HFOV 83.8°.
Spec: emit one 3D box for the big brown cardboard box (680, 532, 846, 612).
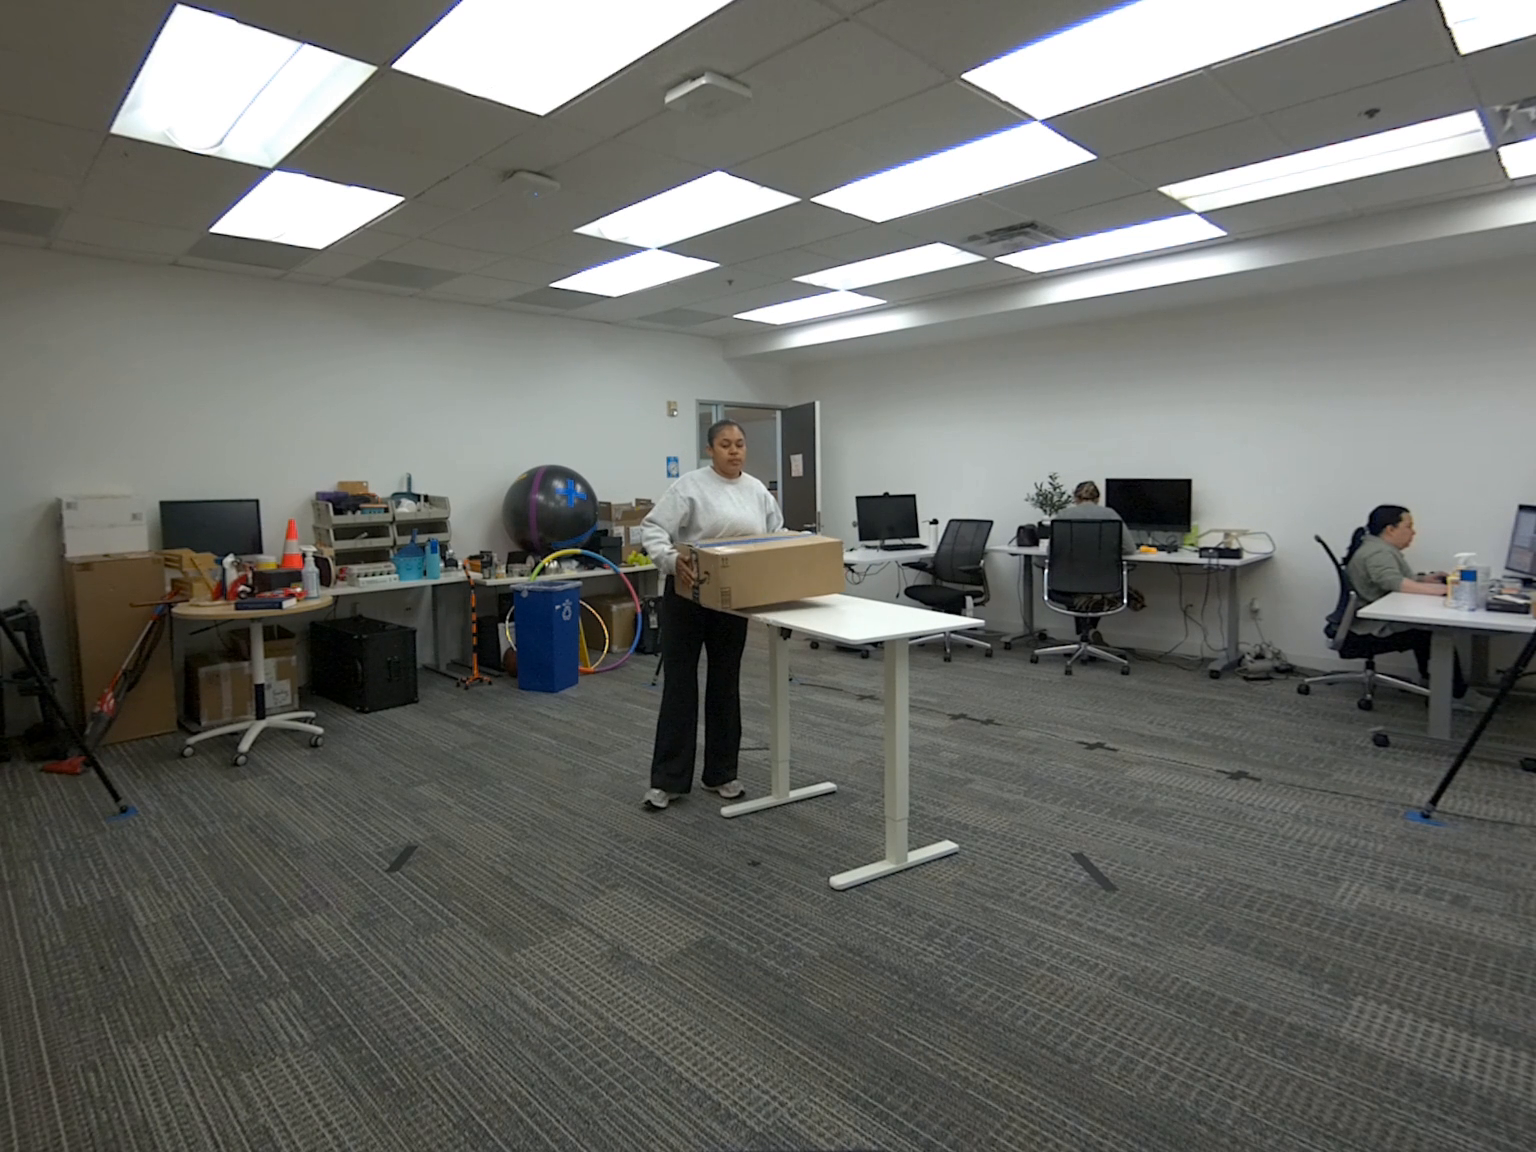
[{"bbox_3d":[-0.045,-0.029,3.445,0.577,0.231,0.429,-6,10,-26],"label":"big brown cardboard box"}]
